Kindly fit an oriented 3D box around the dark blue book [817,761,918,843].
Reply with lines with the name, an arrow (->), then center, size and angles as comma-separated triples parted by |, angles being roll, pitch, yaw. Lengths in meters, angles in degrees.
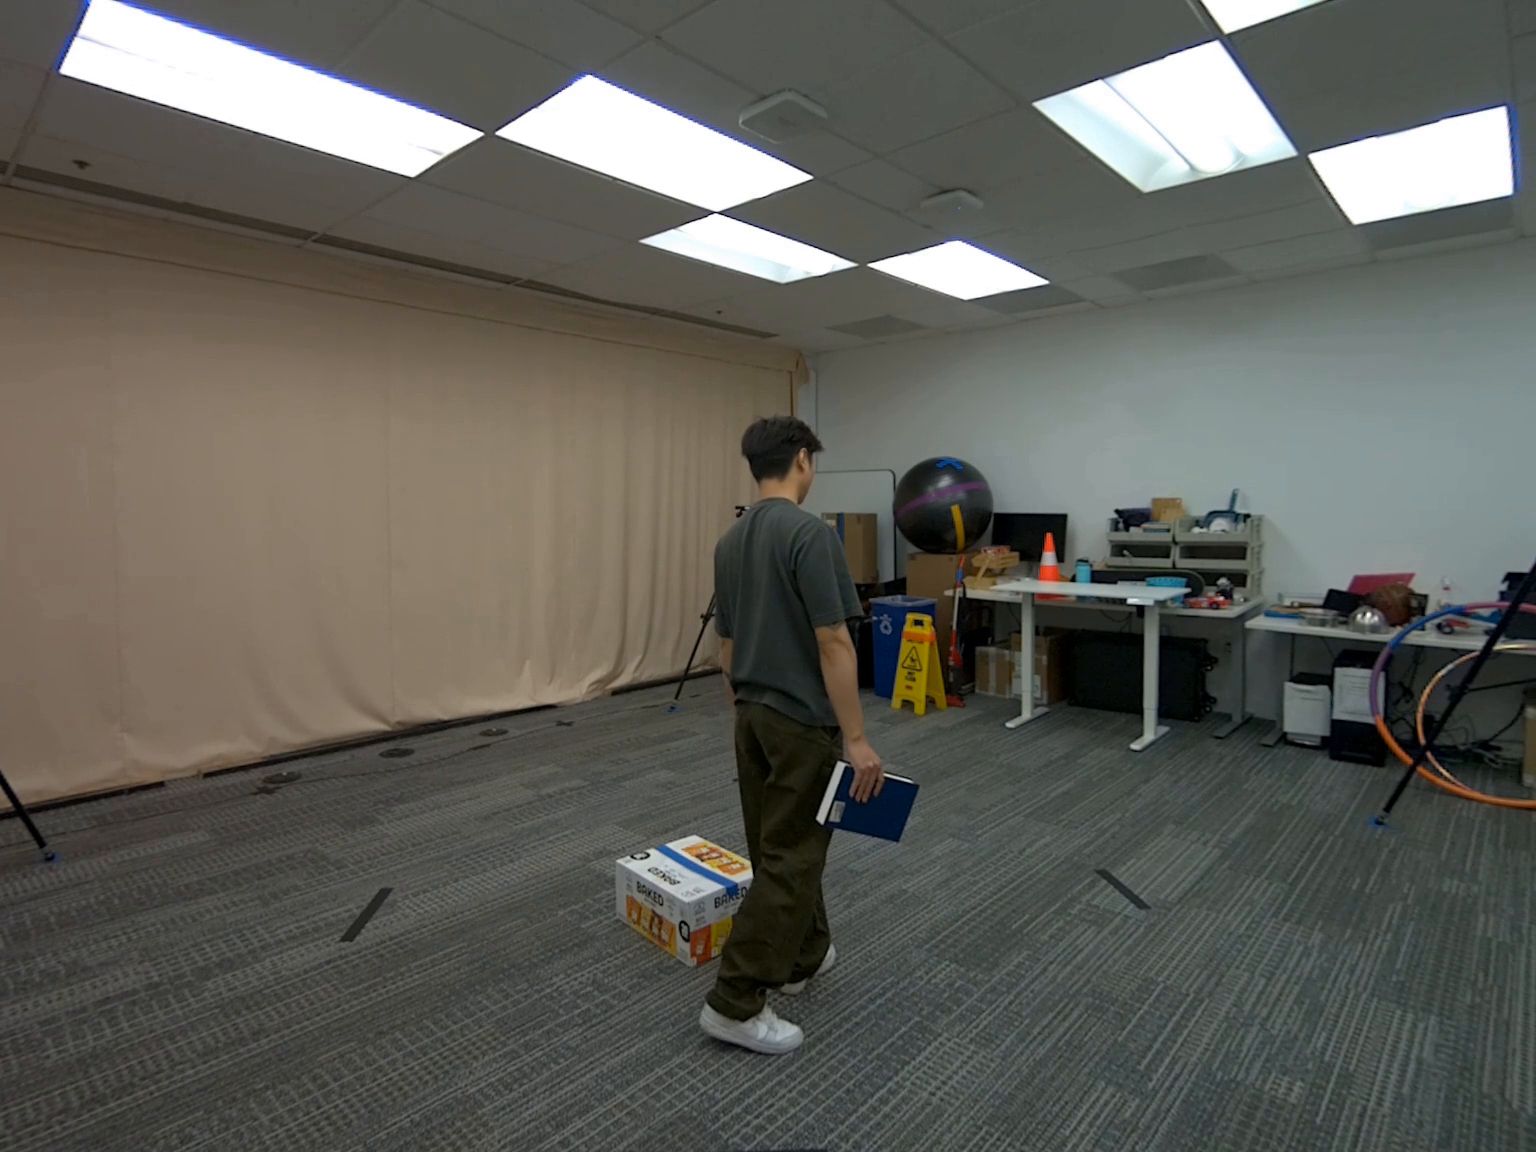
dark blue book -> 0.260, 0.576, 2.133 | 0.239, 0.163, 0.046 | 19, 2, -23
